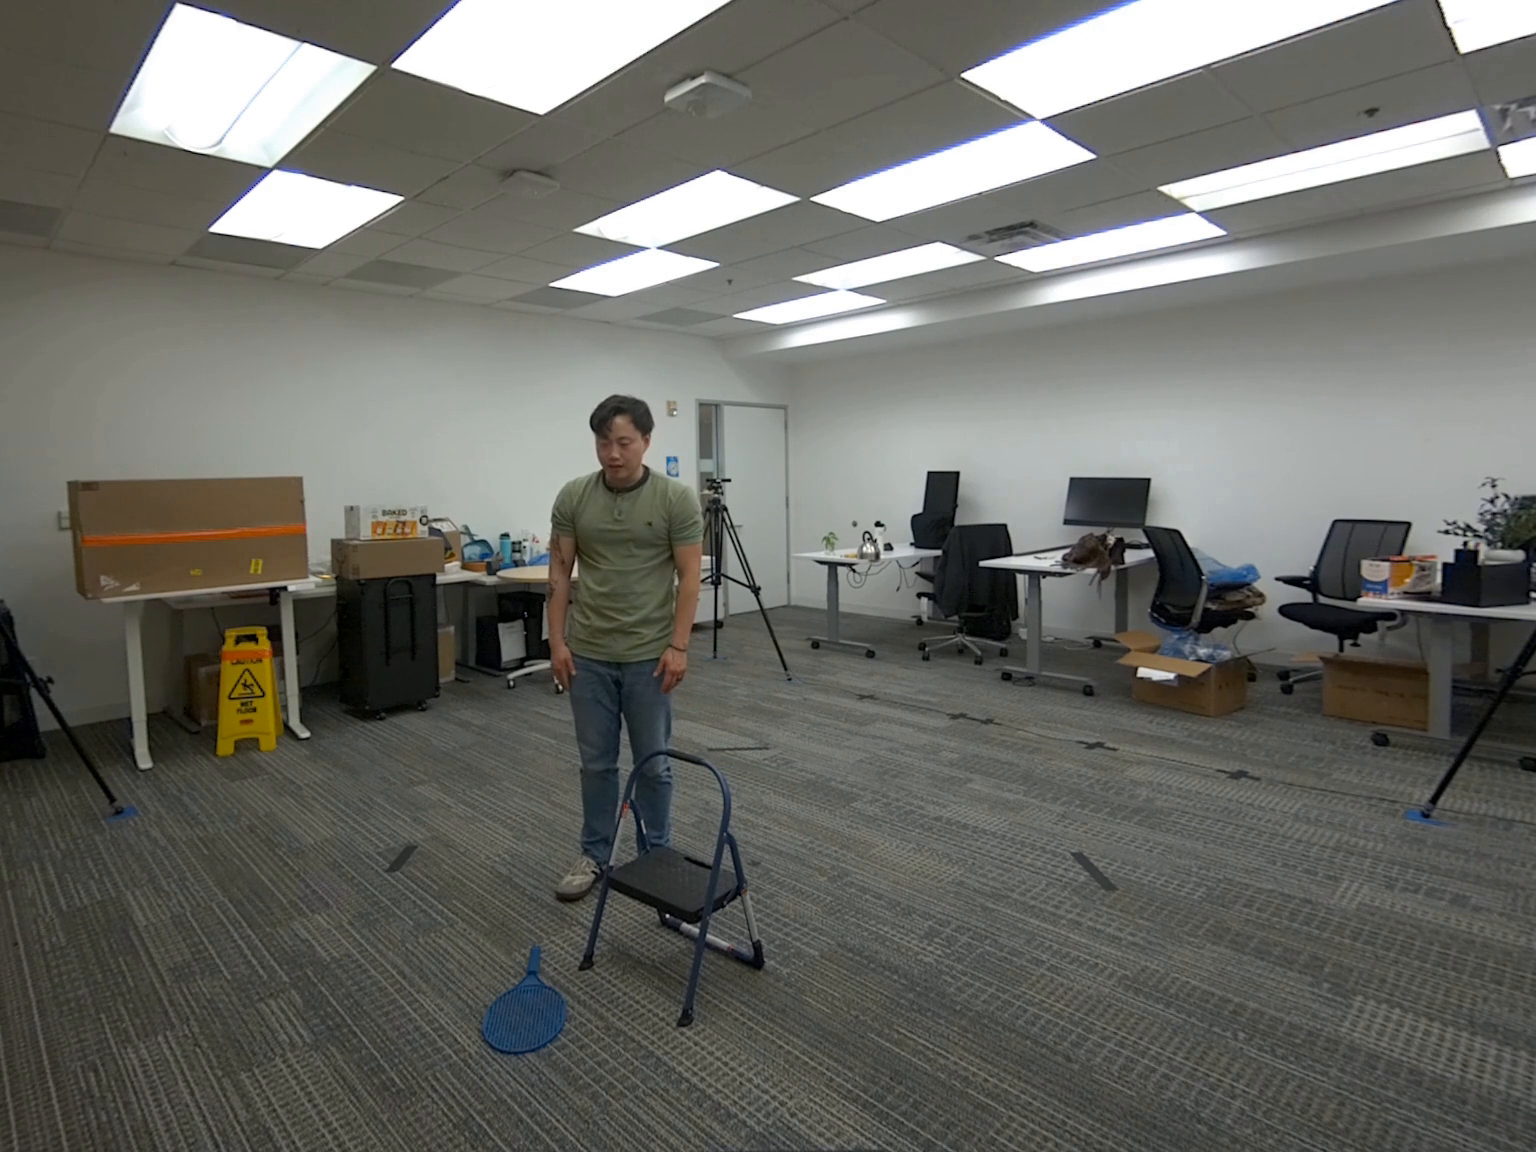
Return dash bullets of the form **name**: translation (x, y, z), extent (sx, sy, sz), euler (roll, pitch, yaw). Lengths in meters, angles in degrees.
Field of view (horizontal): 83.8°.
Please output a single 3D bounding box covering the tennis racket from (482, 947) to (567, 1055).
- **tennis racket**: translation (-0.641, 1.142, 2.307), extent (0.212, 0.031, 0.440), euler (-2, 8, -11)
